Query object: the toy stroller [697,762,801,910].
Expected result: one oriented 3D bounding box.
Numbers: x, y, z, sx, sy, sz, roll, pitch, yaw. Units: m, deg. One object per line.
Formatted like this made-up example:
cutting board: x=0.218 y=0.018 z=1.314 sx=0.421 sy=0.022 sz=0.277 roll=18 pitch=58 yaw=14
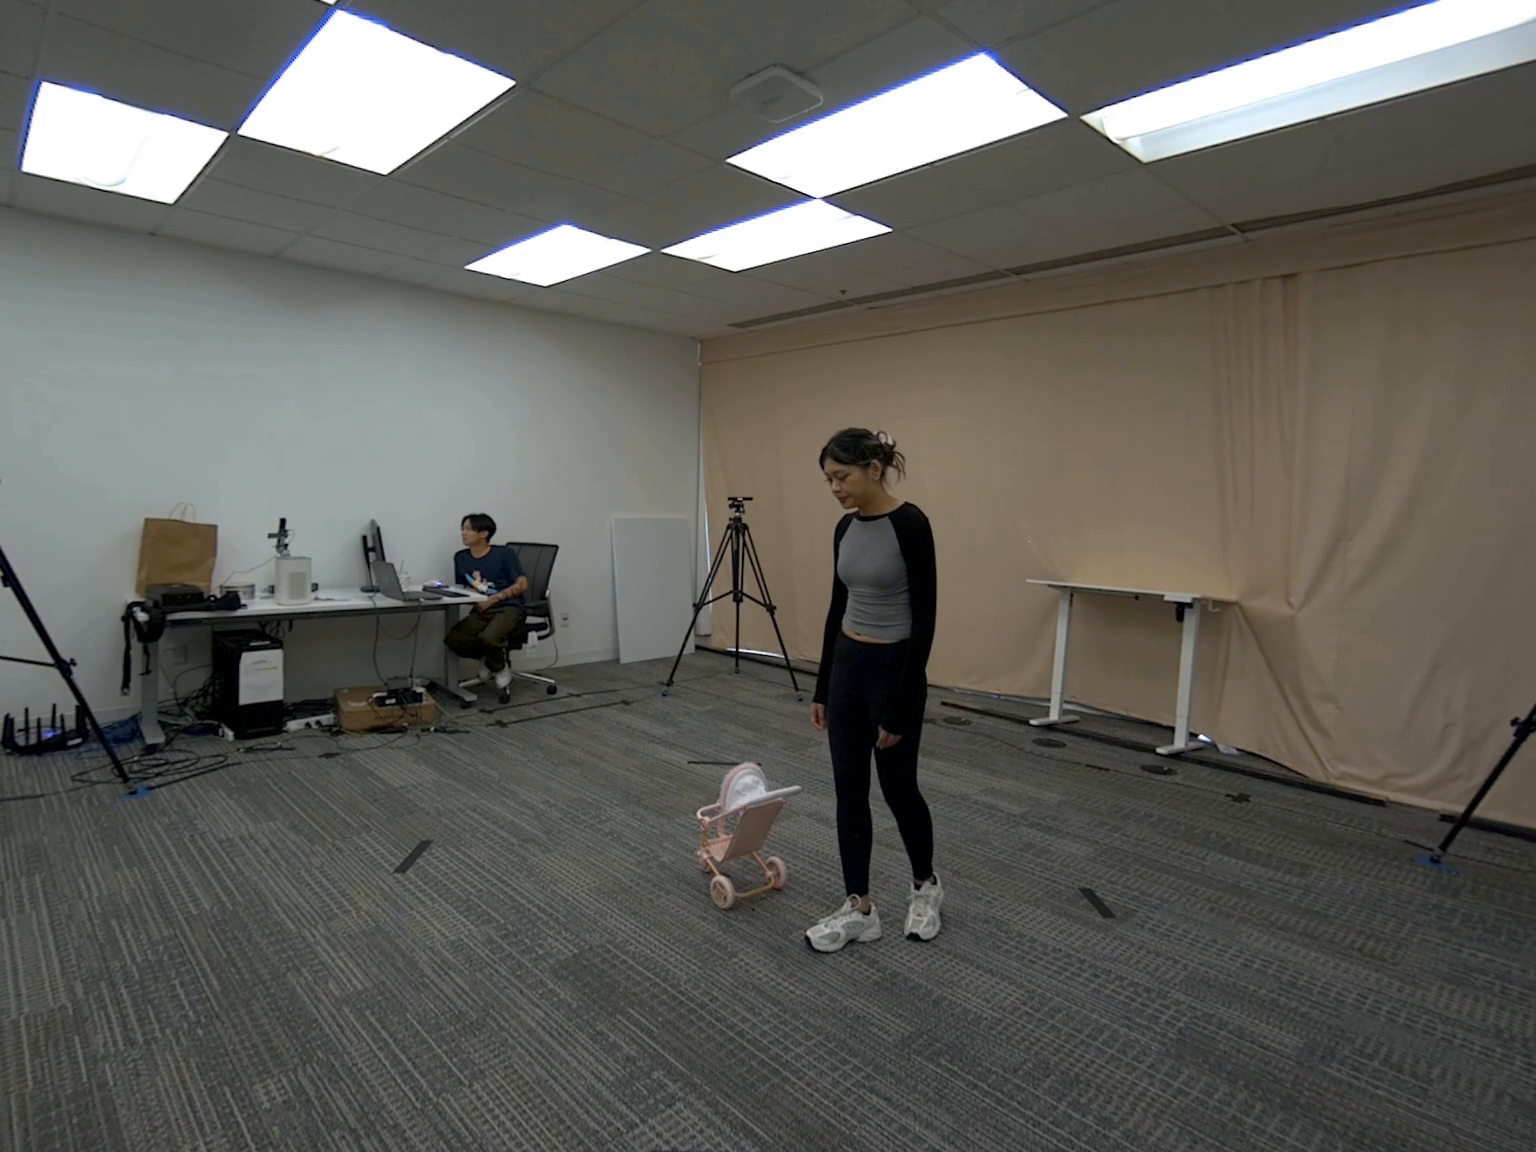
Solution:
toy stroller: x=-0.105 y=0.896 z=2.976 sx=0.275 sy=0.530 sz=0.352 roll=-1 pitch=21 yaw=-36
